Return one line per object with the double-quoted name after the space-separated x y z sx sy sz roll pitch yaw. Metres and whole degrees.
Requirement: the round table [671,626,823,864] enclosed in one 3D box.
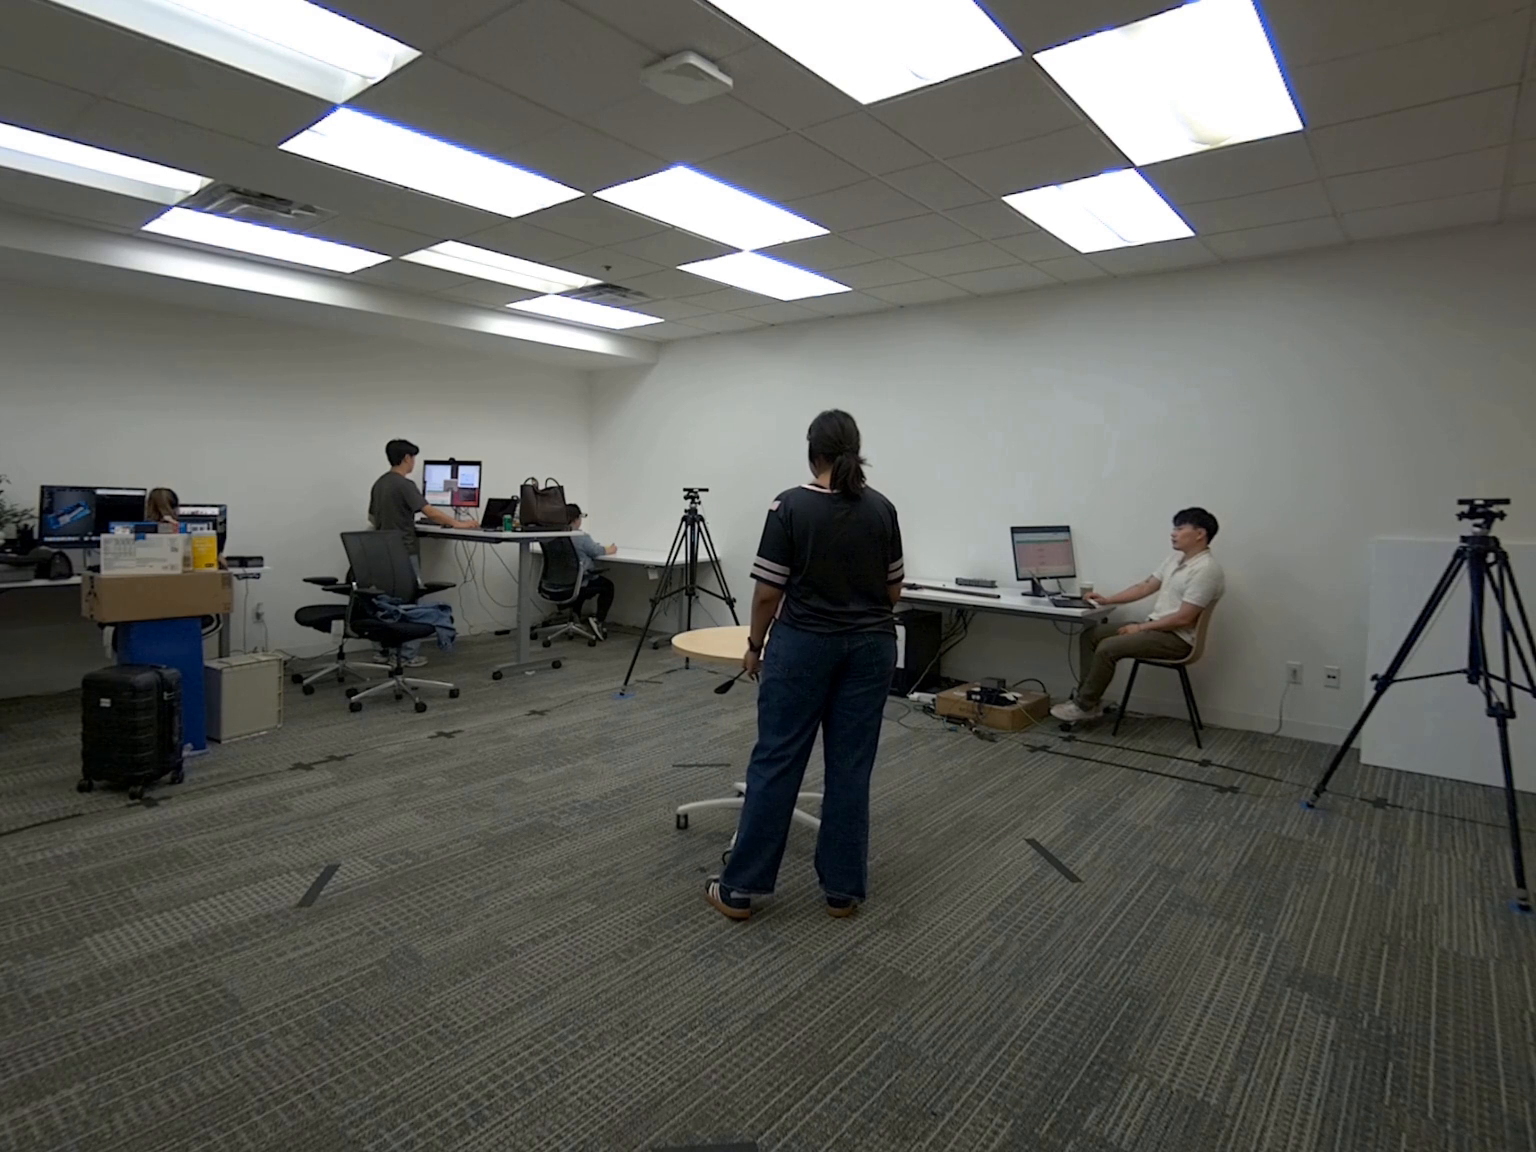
-0.022 0.651 3.441 0.763 0.791 0.768 1 4 -2 "round table"
